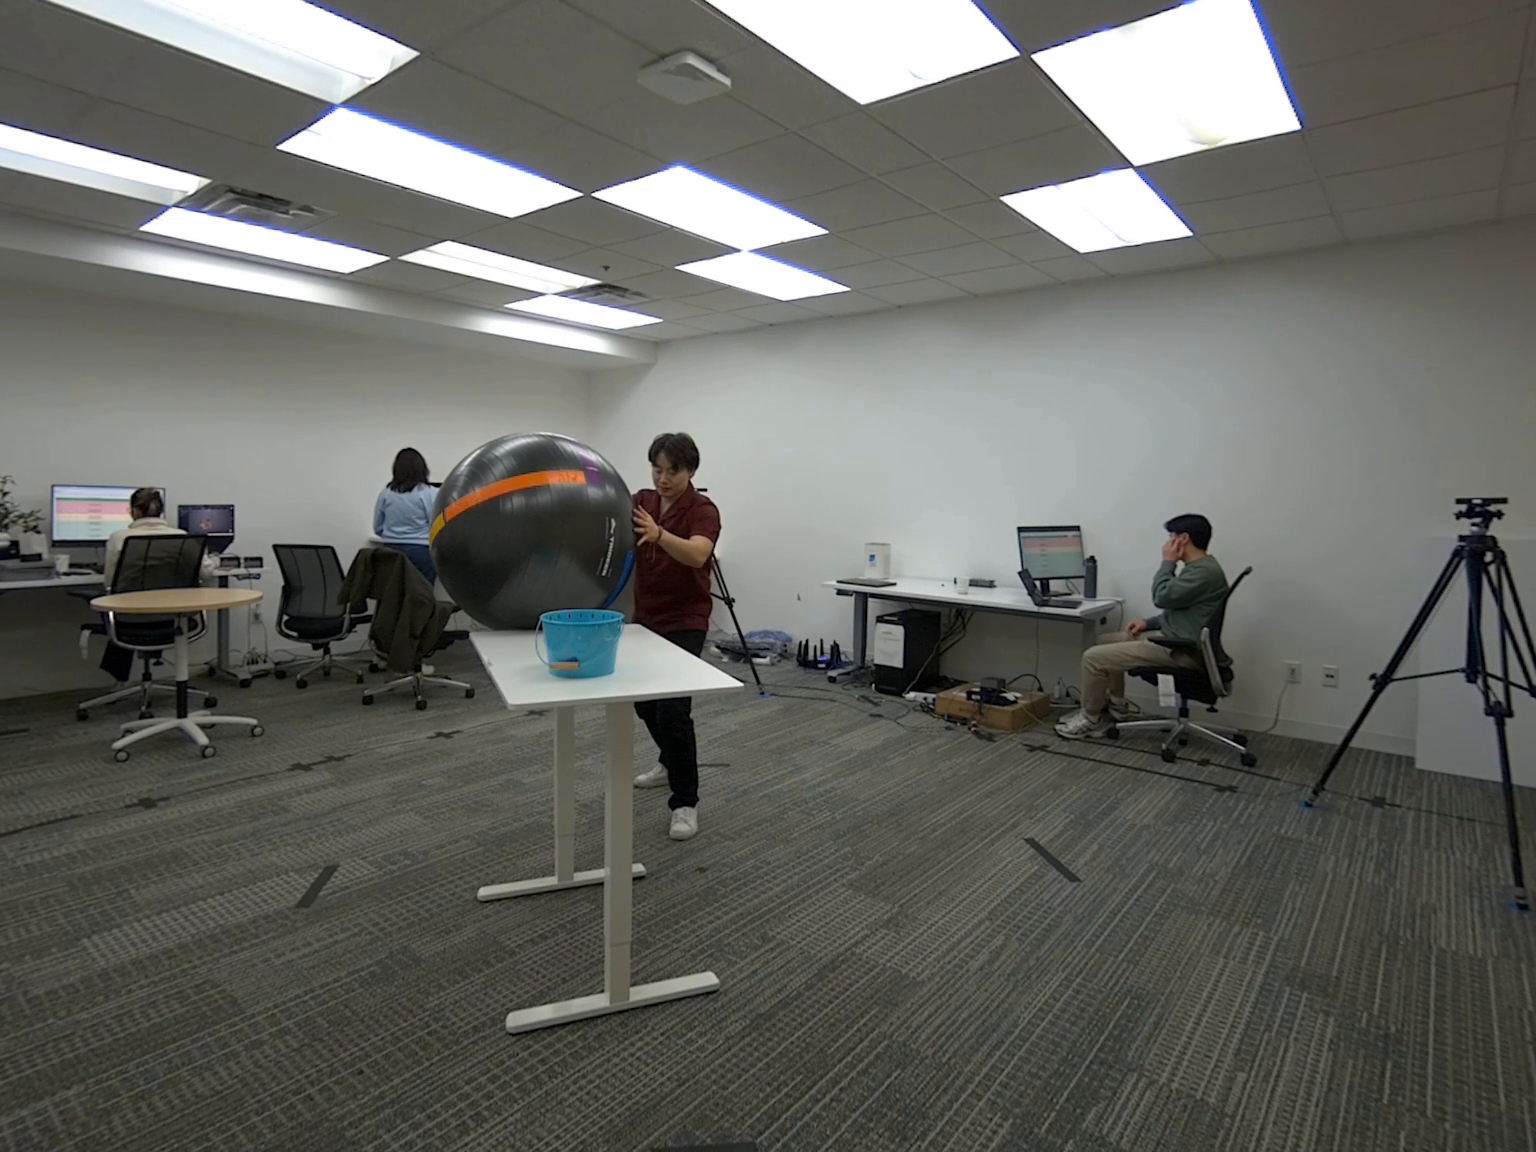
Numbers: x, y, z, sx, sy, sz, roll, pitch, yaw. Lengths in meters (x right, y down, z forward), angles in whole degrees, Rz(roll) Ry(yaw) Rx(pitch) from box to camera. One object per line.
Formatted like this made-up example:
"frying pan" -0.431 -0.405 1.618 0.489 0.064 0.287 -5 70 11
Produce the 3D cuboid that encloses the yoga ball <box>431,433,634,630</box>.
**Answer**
"yoga ball" -0.878 -0.150 3.150 0.757 0.756 0.762 1 4 -2
